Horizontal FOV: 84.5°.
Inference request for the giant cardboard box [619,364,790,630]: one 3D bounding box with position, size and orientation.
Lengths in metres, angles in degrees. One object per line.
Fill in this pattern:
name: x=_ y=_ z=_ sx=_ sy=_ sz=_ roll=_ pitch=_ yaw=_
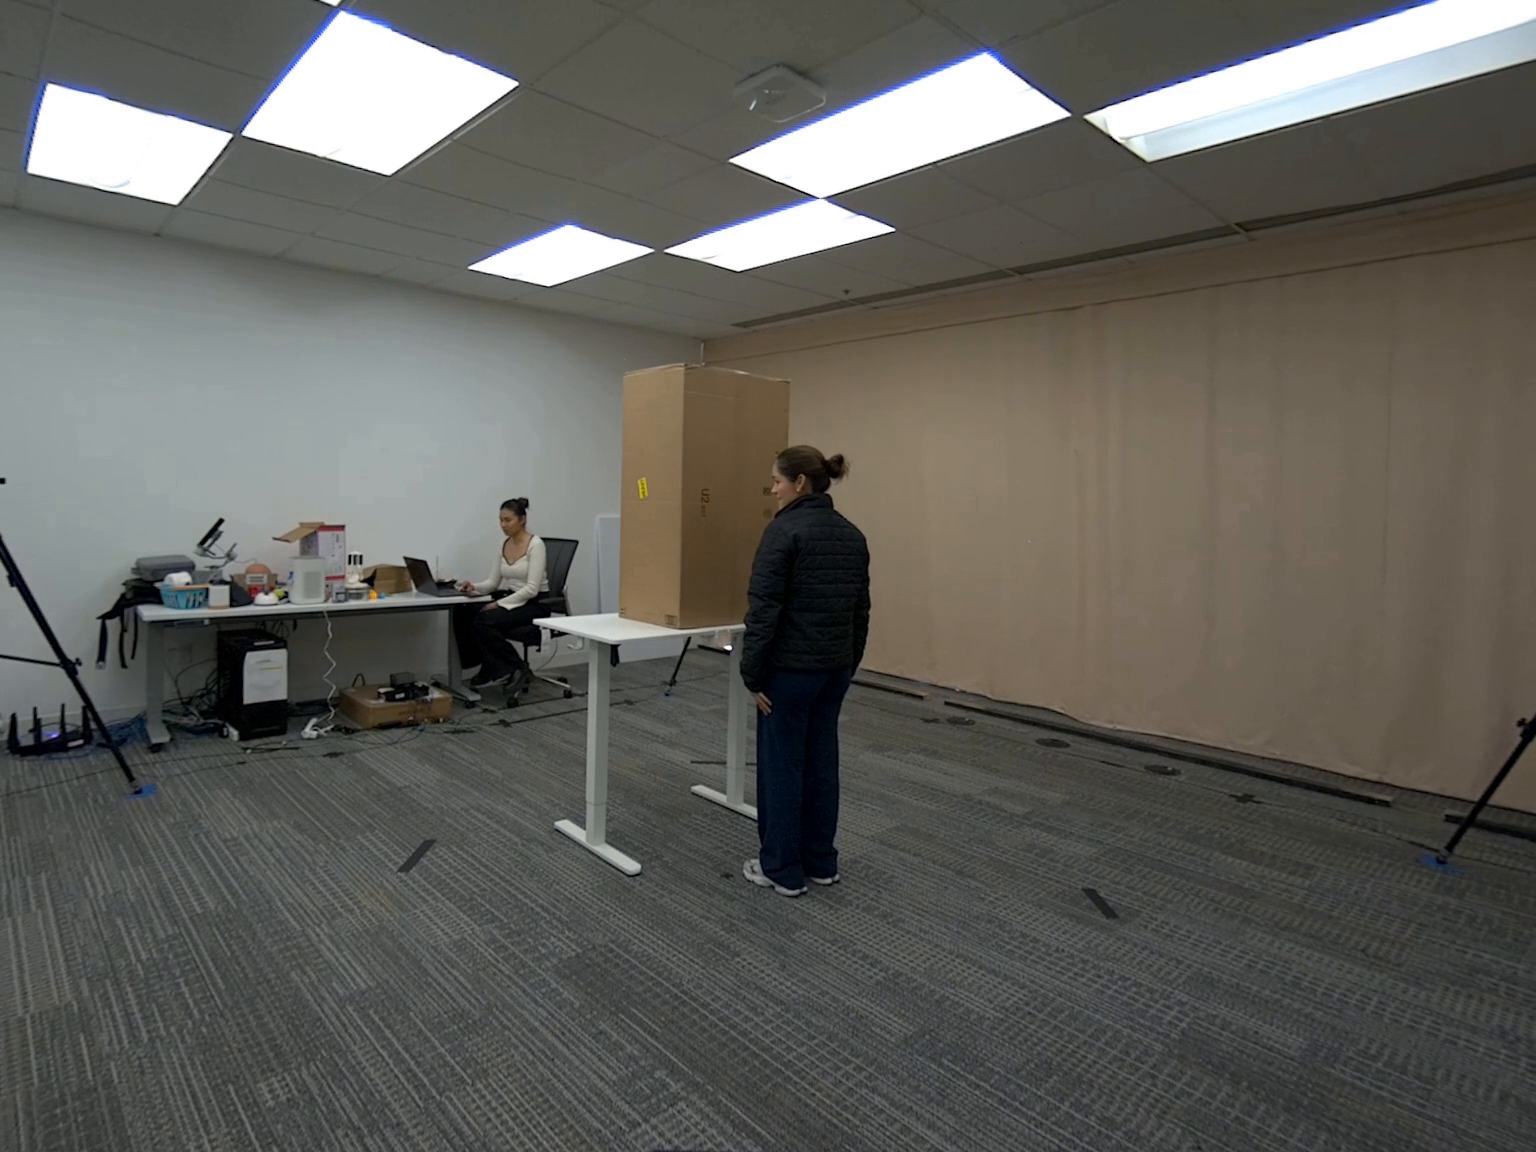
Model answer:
giant cardboard box: x=-0.273 y=-0.326 z=3.549 sx=0.570 sy=1.025 sz=0.458 roll=-1 pitch=3 yaw=-41
